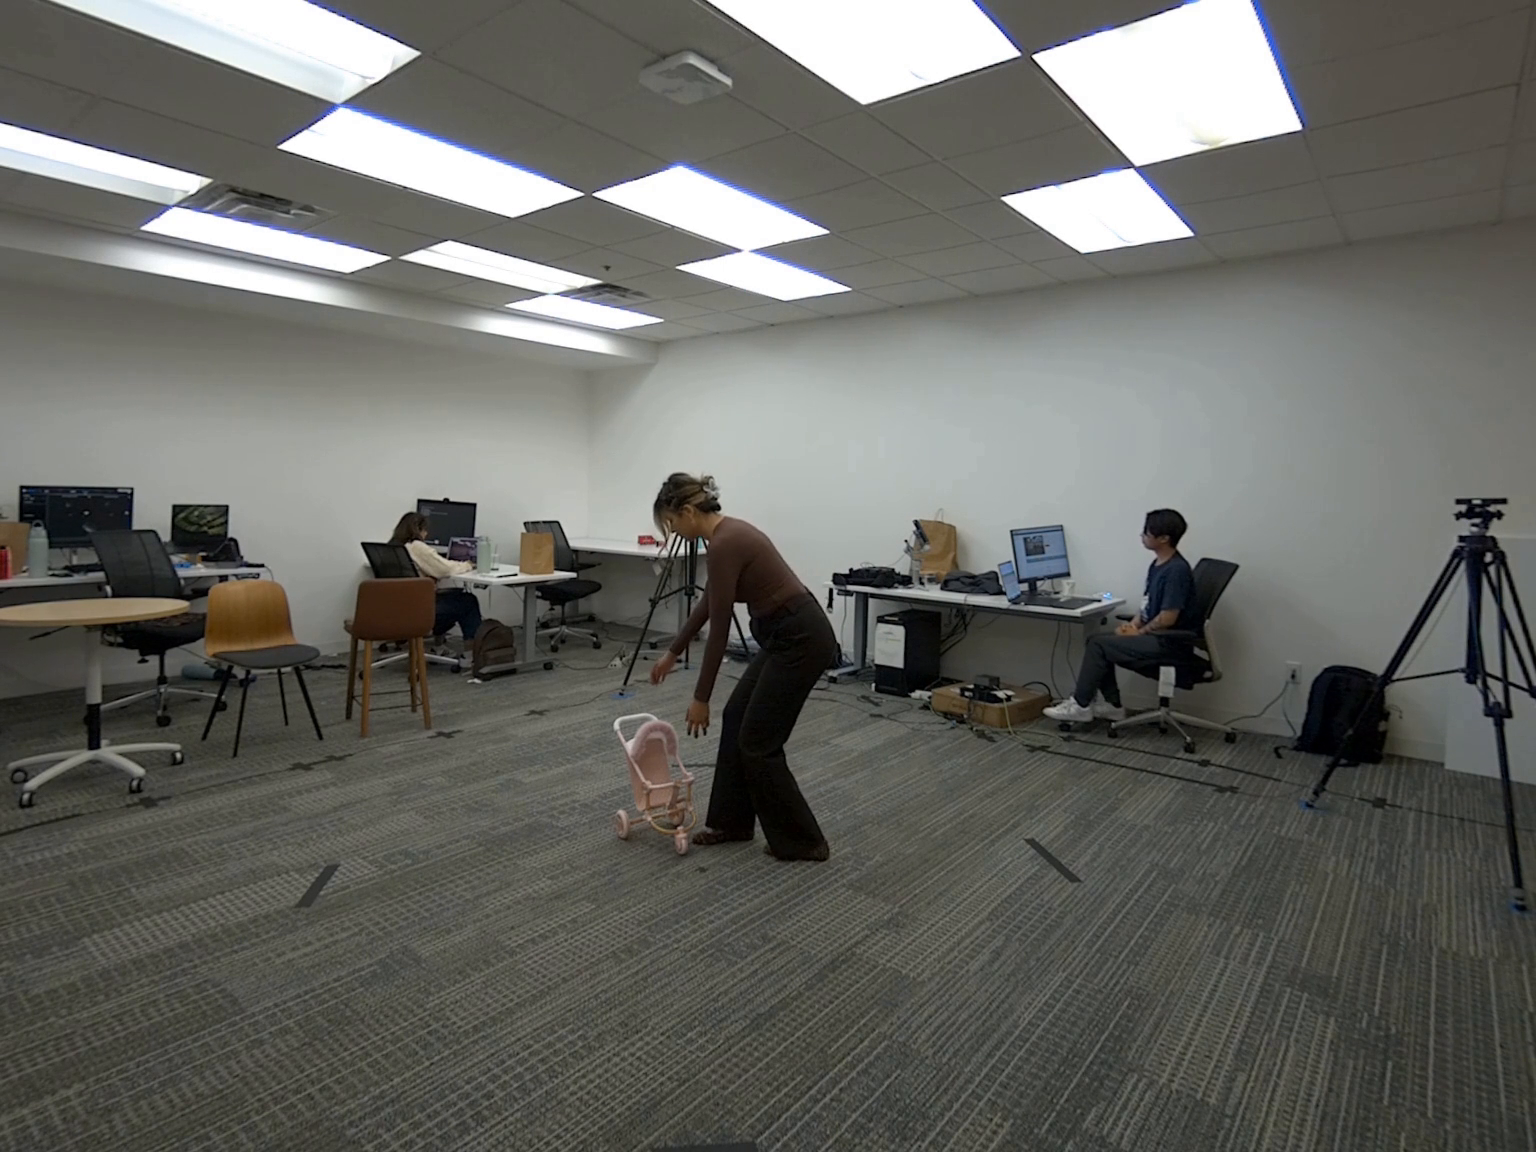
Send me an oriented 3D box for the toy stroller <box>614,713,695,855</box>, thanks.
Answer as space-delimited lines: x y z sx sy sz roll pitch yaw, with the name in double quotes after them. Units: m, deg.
-0.453 0.811 3.389 0.274 0.541 0.347 -1 -11 -32 "toy stroller"
